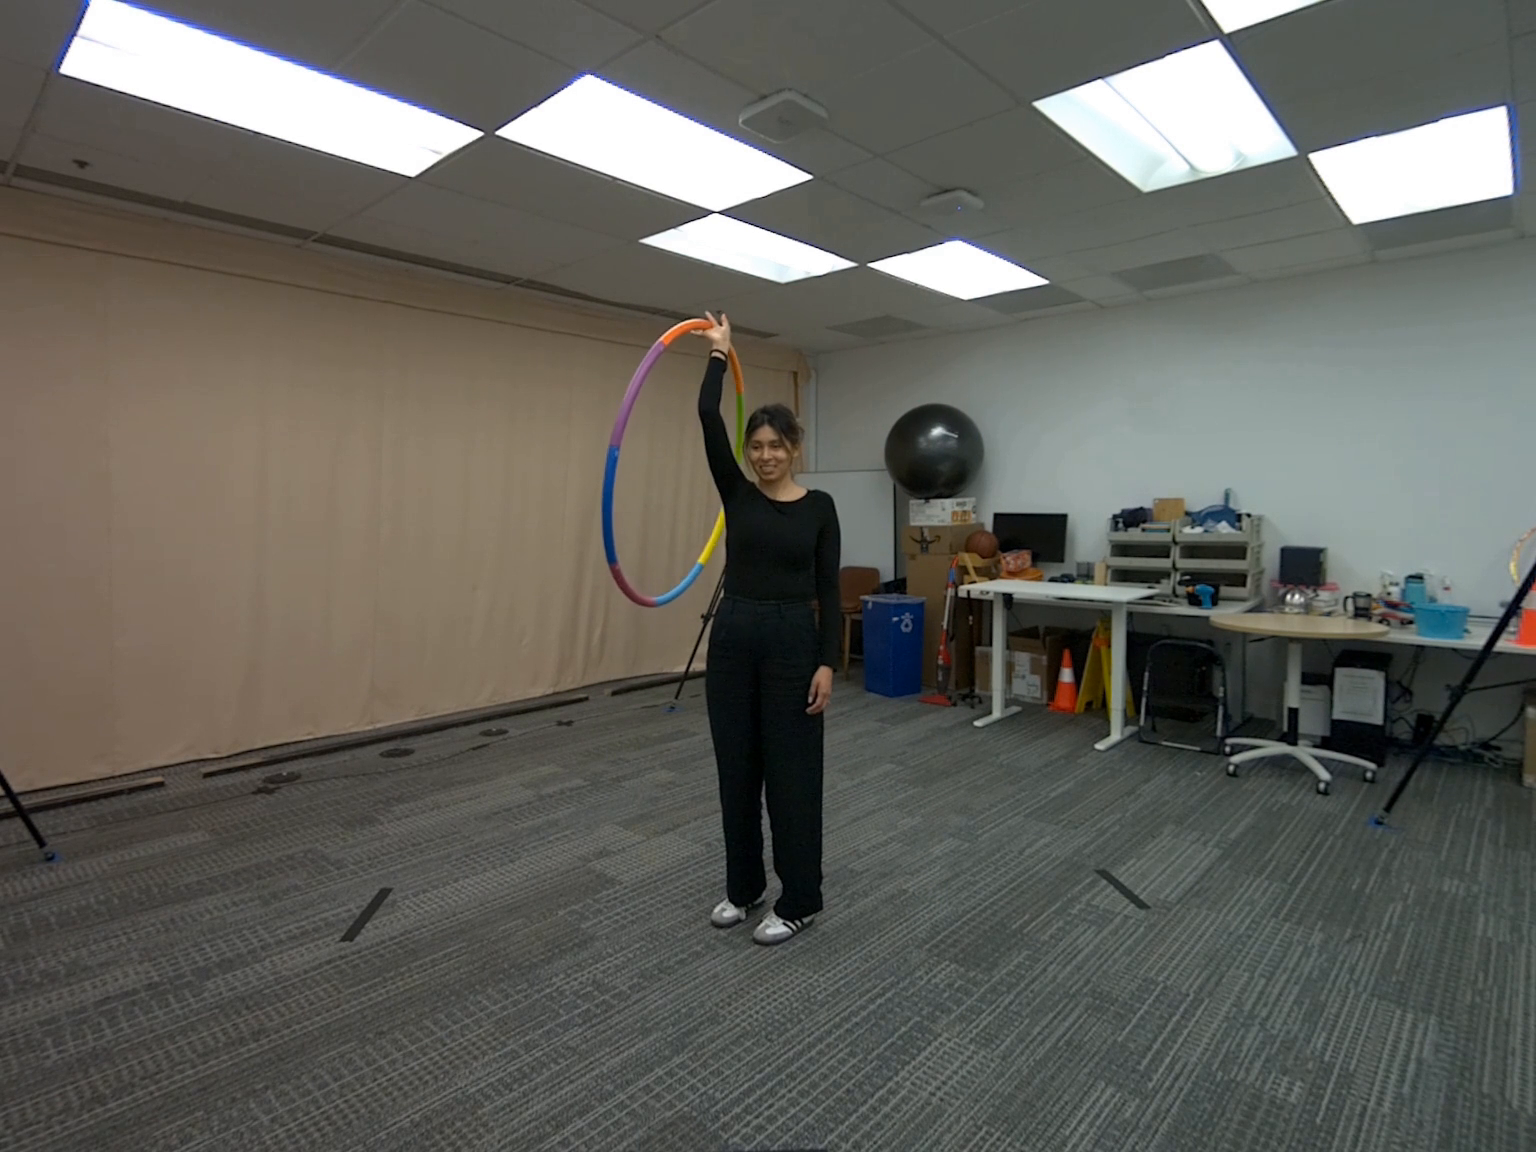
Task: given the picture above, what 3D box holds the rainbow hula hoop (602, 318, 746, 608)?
[{"bbox_3d":[-0.280,-0.377,2.909,0.053,0.982,0.965,14,9,19],"label":"rainbow hula hoop"}]
